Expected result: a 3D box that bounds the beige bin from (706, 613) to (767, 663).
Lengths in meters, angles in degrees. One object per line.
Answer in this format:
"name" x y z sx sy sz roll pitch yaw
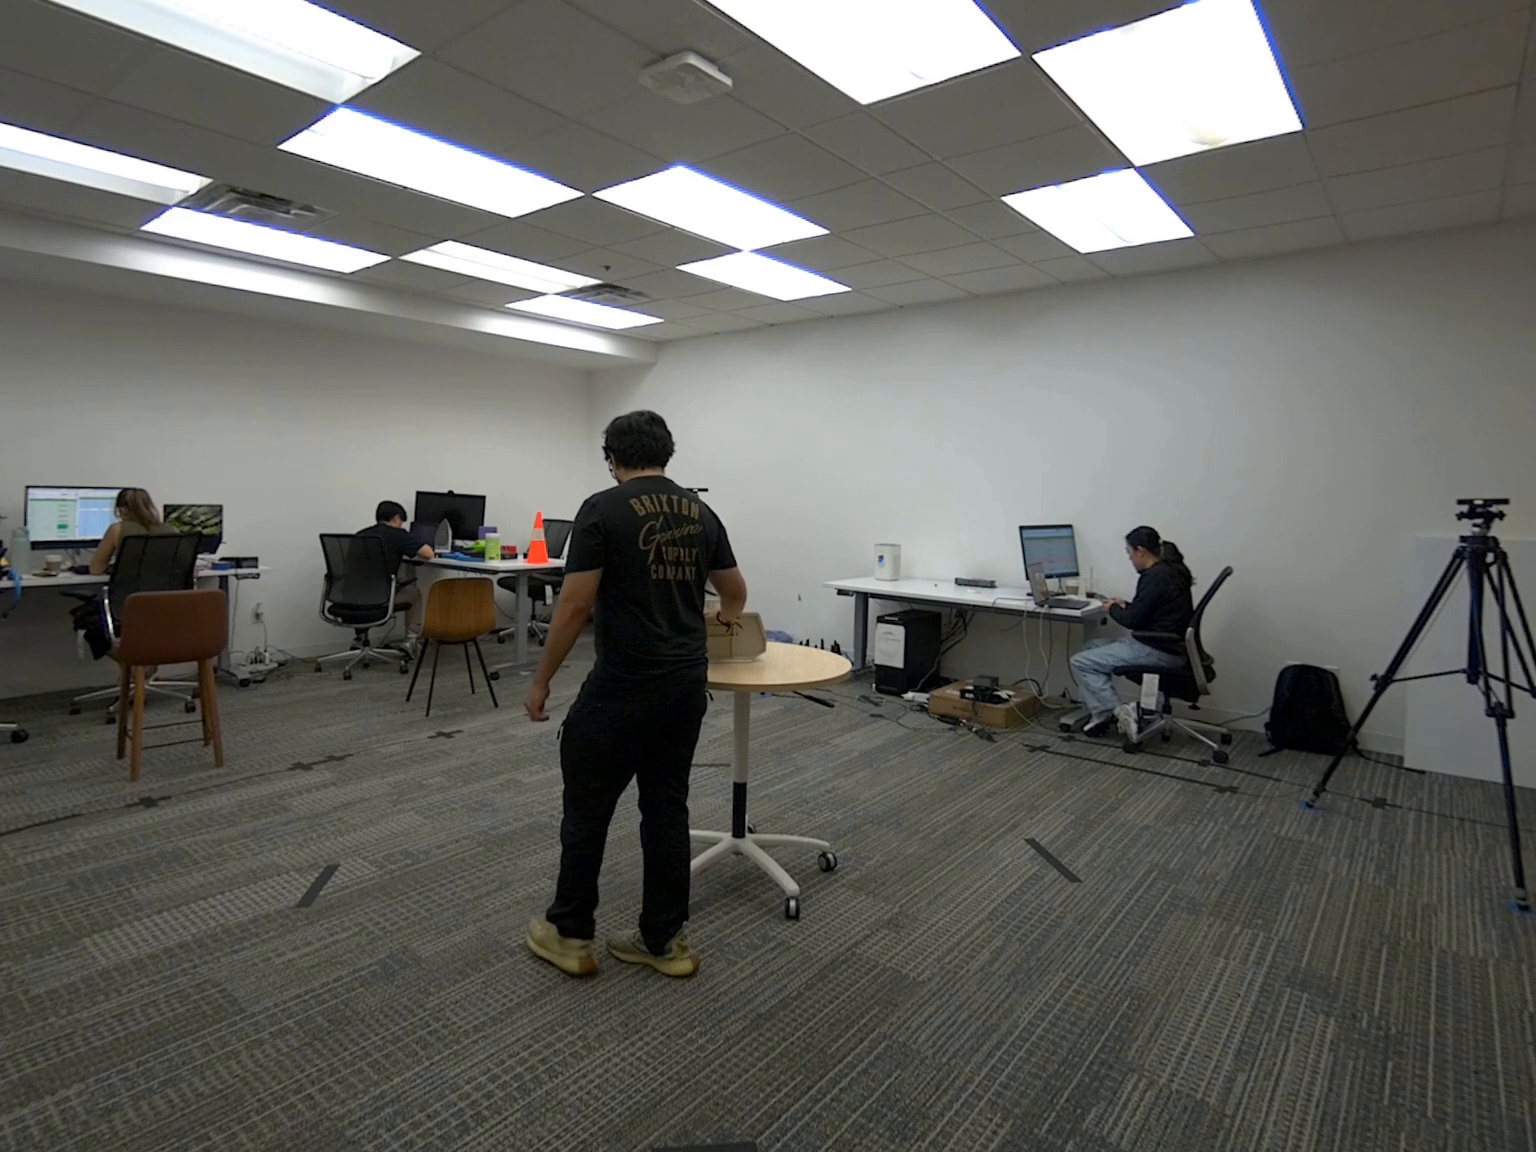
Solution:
"beige bin" -0.241 0.186 3.138 0.372 0.188 0.430 -2 7 -14
